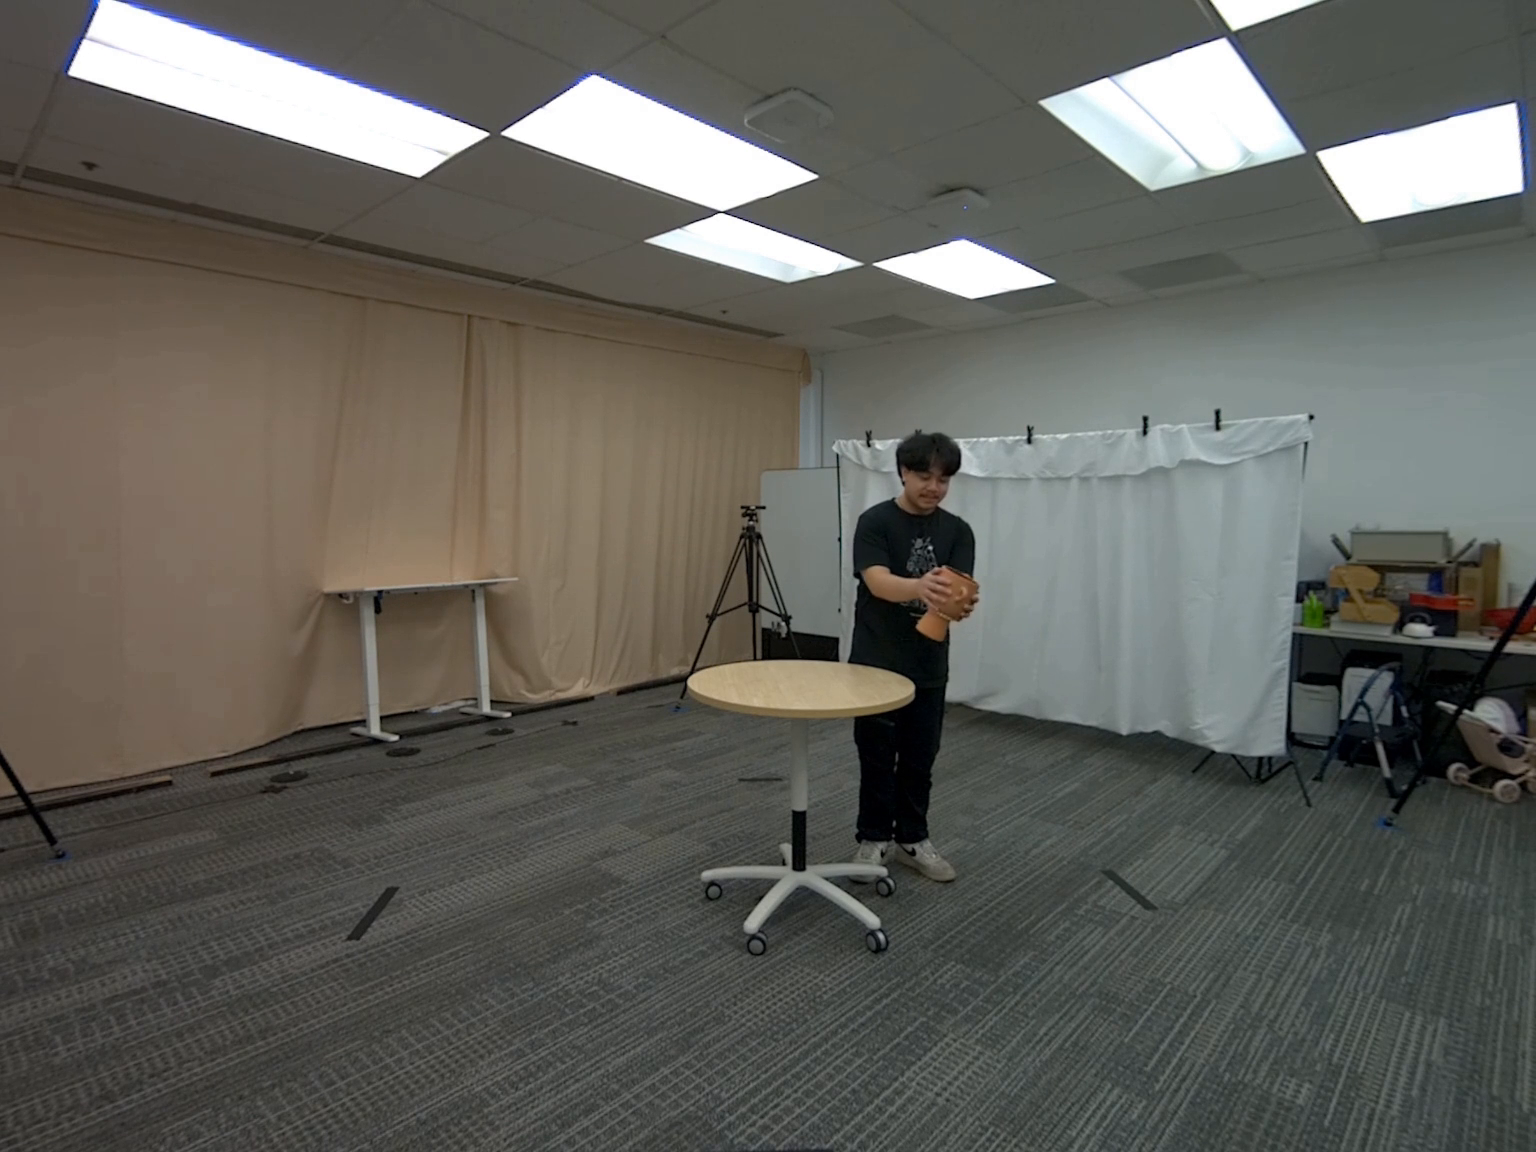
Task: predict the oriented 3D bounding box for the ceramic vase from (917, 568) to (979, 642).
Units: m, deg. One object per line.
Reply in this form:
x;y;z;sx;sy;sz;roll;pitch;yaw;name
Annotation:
0.576;0.096;2.733;0.139;0.219;0.154;33;14;27;ceramic vase
